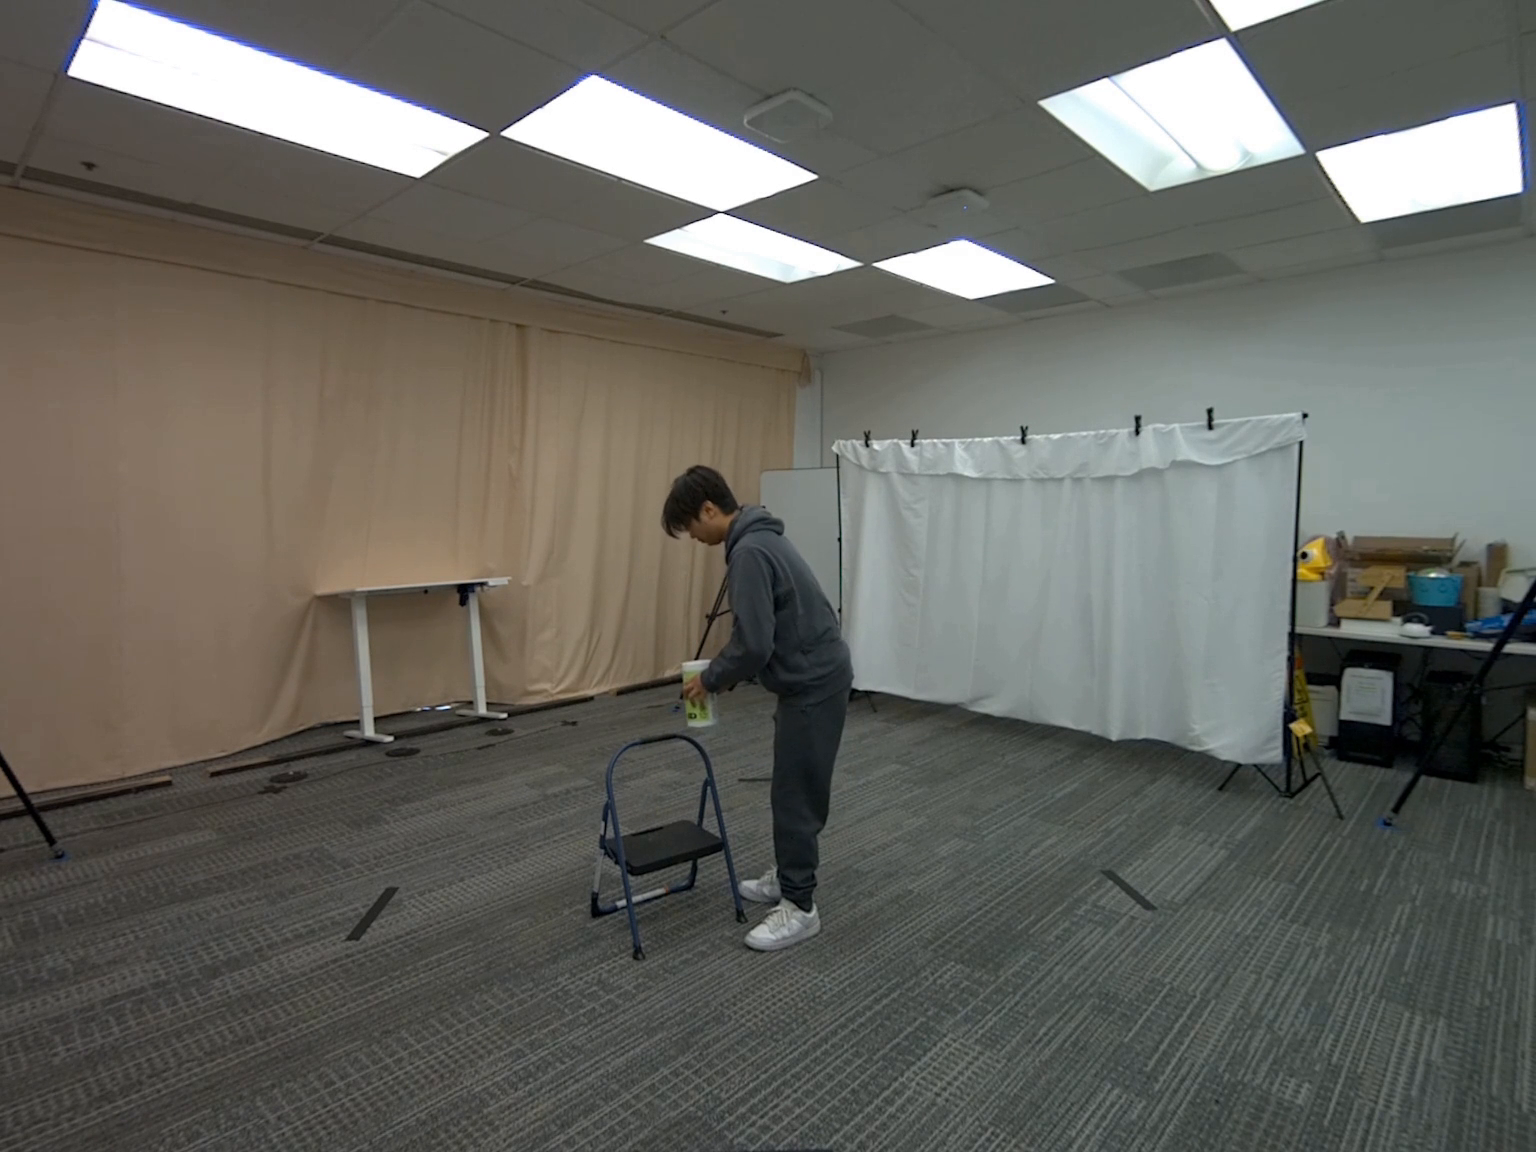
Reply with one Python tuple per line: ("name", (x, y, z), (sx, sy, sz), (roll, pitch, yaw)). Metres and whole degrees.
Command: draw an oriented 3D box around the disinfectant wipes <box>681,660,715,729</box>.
("disinfectant wipes", (-0.224, 0.398, 2.833), (0.117, 0.218, 0.117), (-5, -4, -2))
